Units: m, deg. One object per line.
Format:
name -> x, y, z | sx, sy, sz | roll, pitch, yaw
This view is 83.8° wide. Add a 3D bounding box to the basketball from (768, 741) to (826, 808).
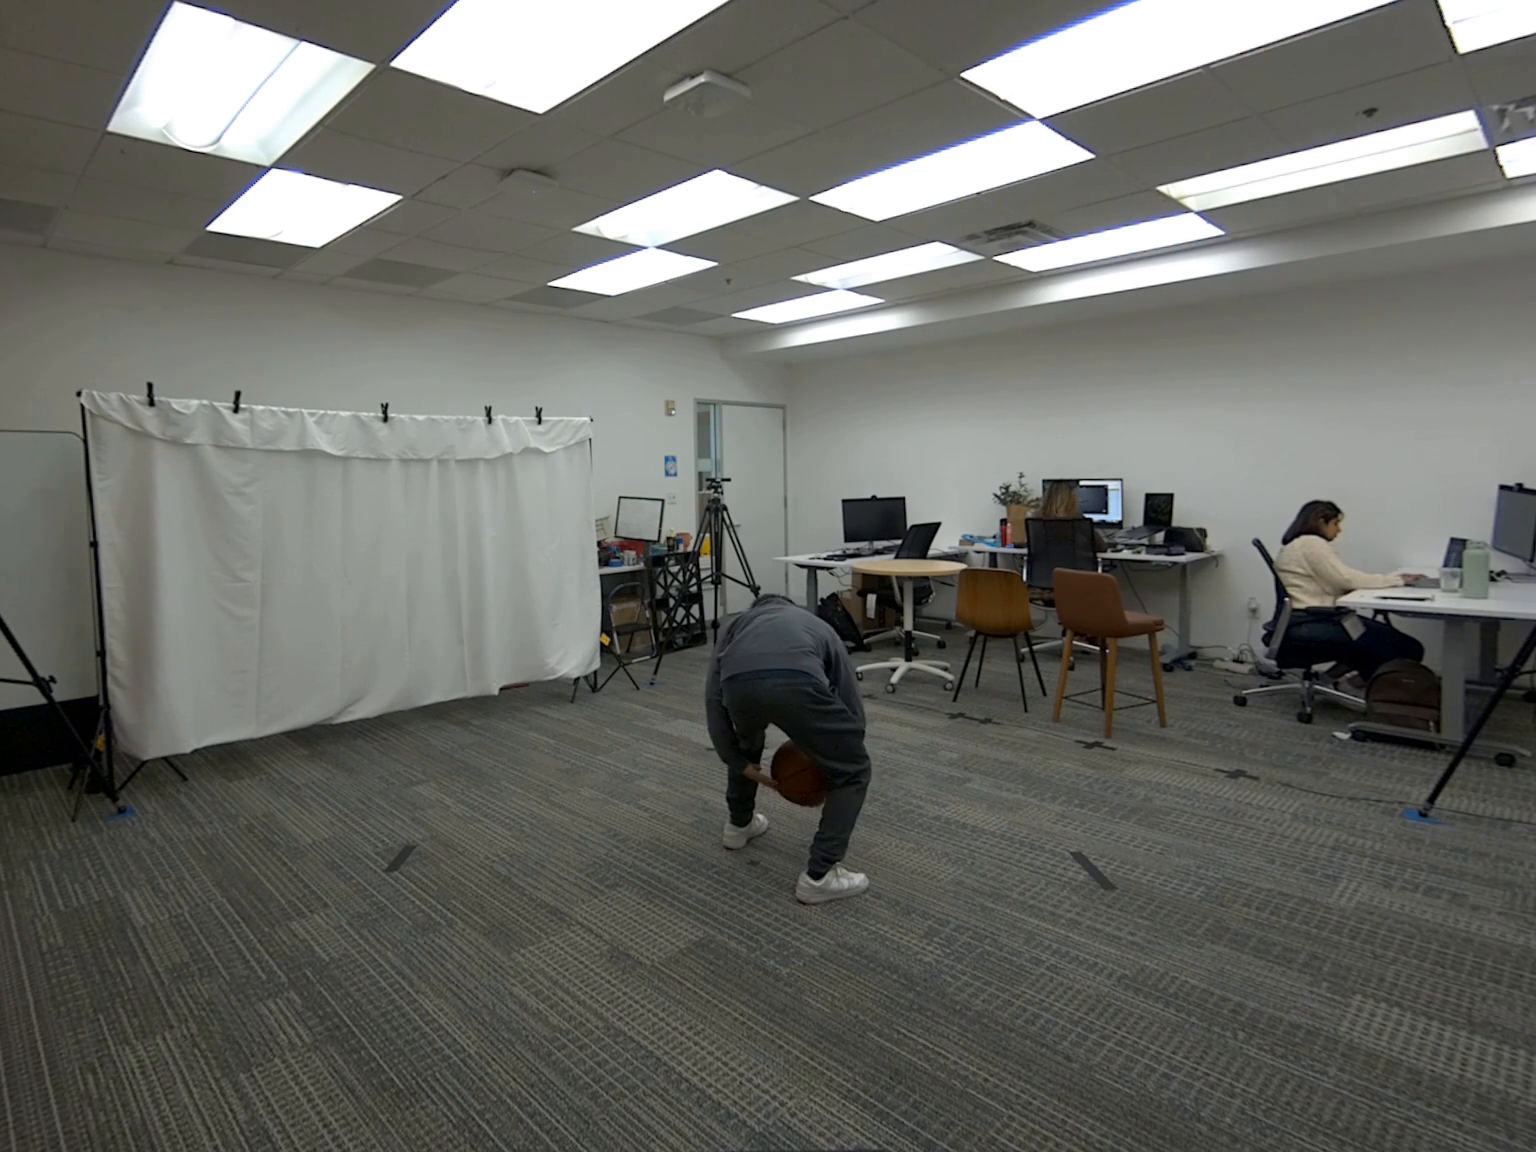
basketball -> 0.130, 0.701, 3.095 | 0.236, 0.235, 0.237 | -1, 5, -2
